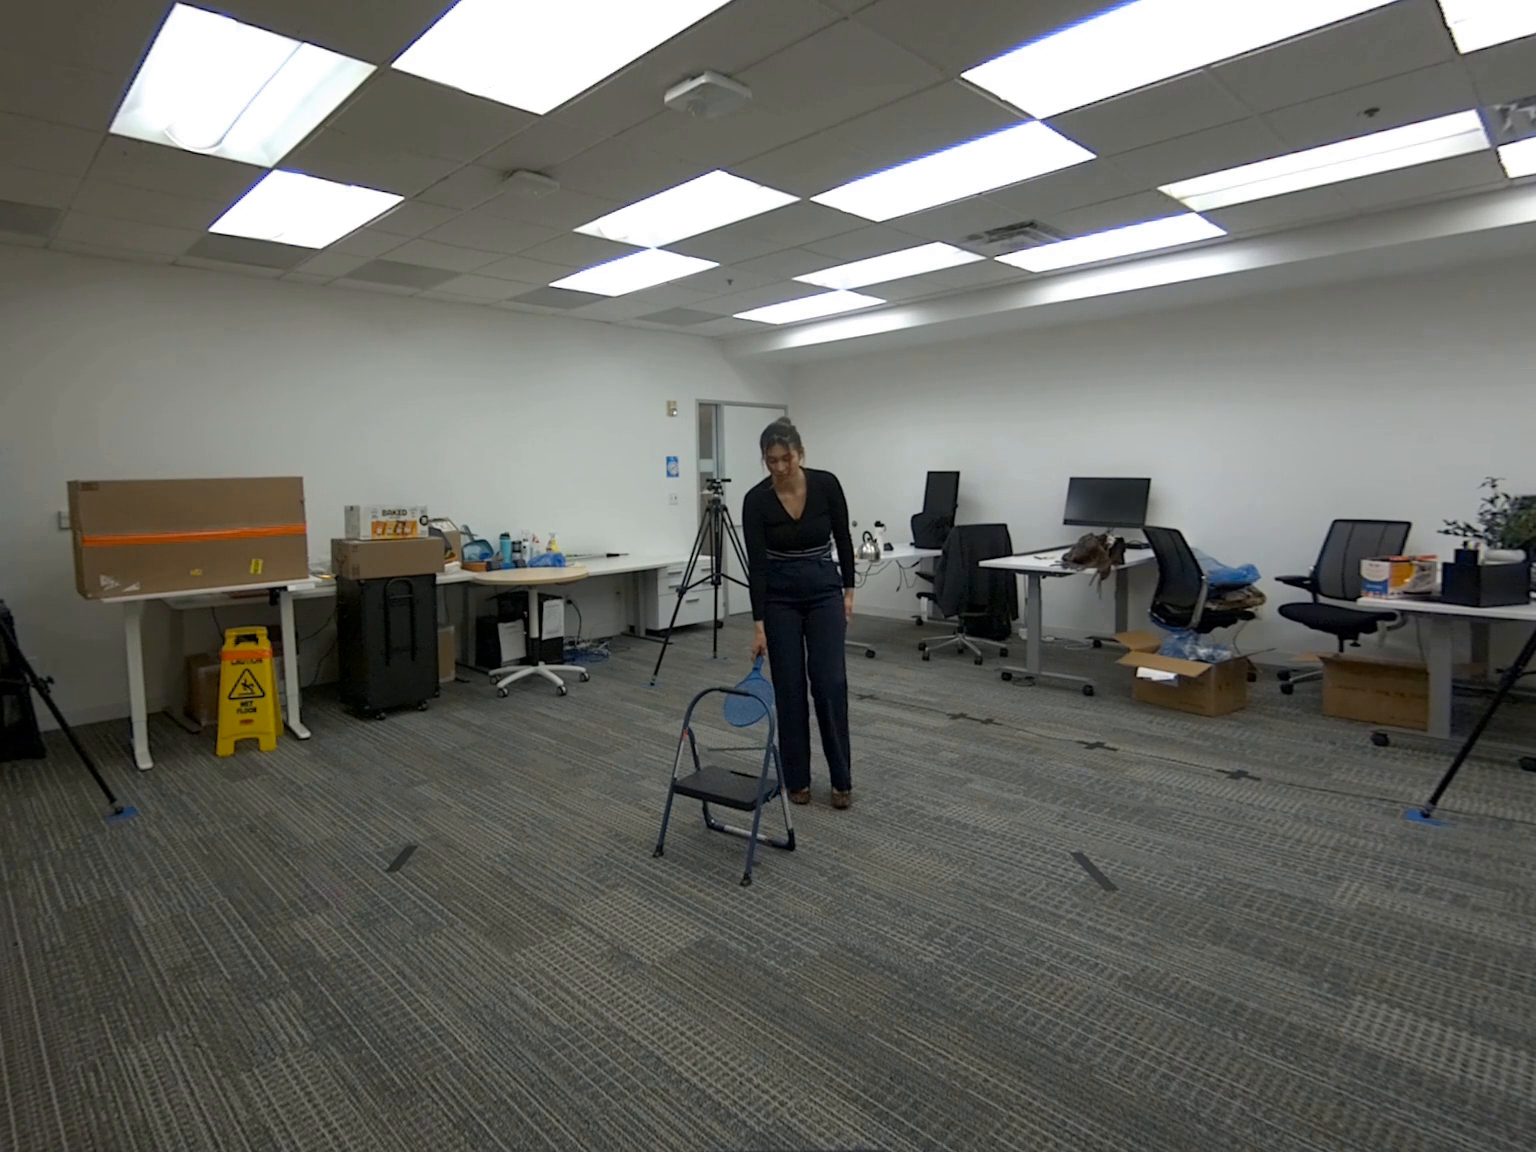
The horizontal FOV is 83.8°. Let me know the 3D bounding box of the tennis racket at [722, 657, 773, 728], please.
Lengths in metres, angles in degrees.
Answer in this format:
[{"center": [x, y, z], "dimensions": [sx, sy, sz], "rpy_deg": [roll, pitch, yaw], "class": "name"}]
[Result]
[{"center": [-0.071, 0.465, 3.528], "dimensions": [0.217, 0.031, 0.440], "rpy_deg": [-9, 36, 19], "class": "tennis racket"}]
